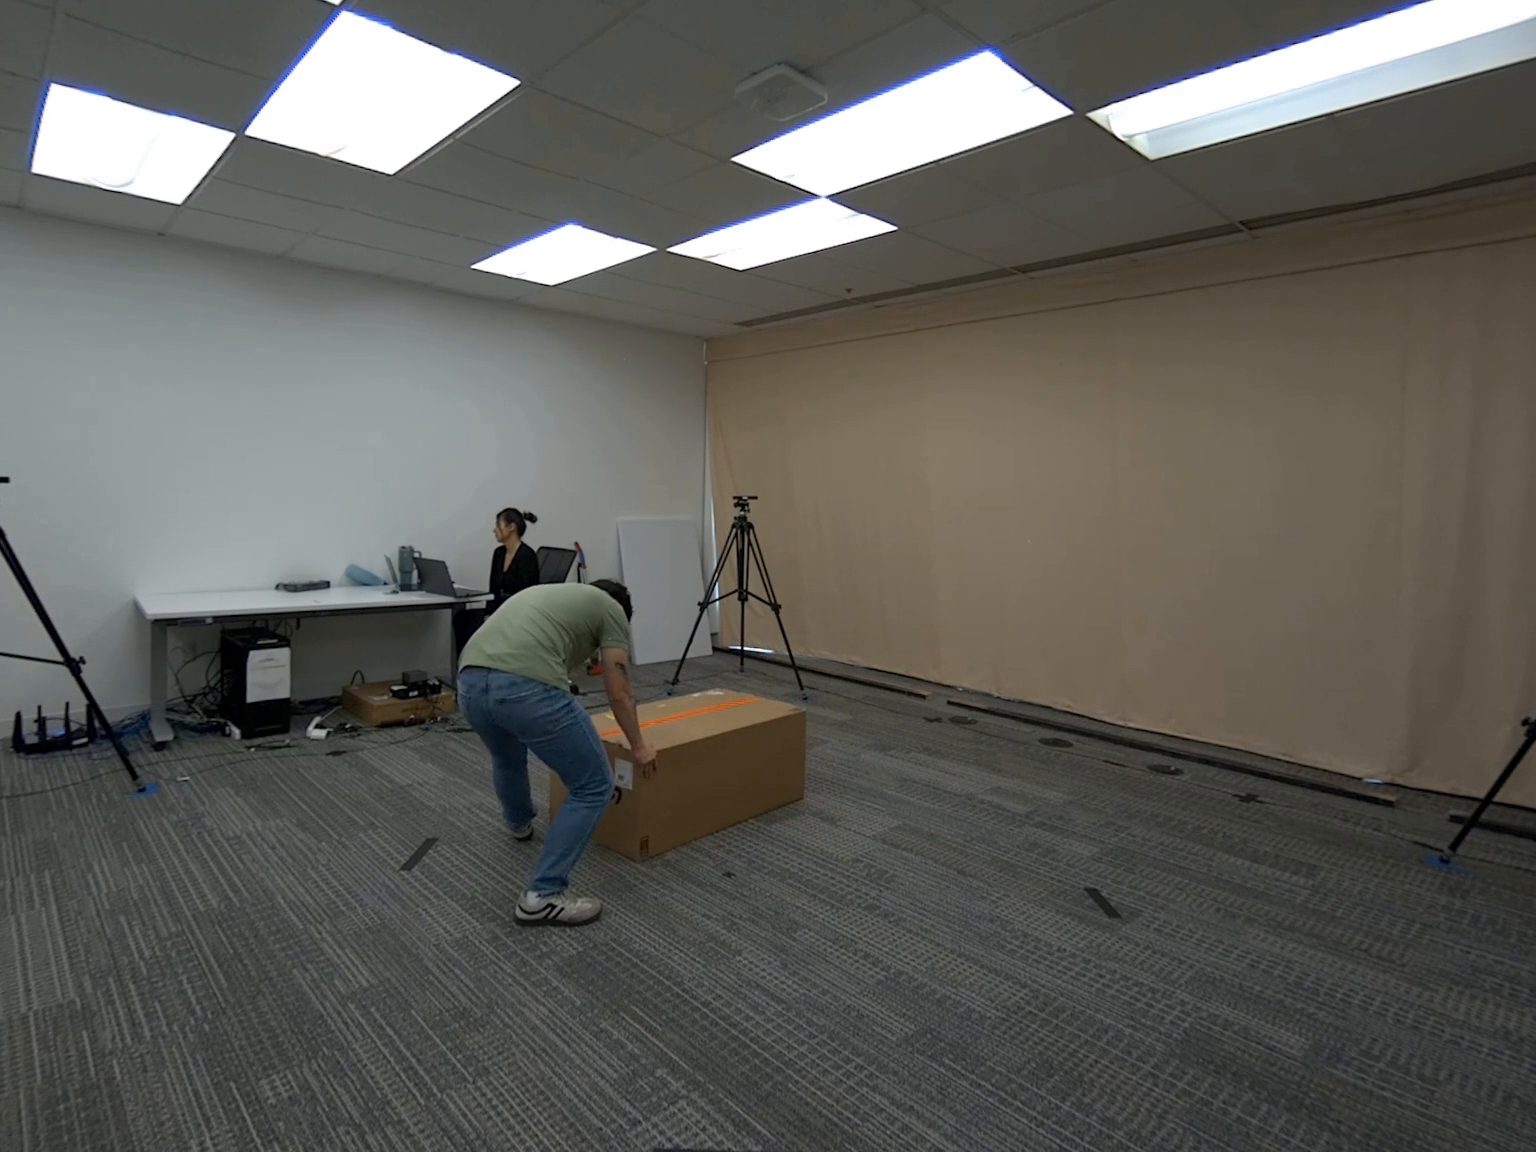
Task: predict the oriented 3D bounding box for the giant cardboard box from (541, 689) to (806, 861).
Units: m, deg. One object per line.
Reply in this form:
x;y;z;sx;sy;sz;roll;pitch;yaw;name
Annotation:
-0.372;0.827;3.740;0.592;0.425;1.003;5;6;42;giant cardboard box
